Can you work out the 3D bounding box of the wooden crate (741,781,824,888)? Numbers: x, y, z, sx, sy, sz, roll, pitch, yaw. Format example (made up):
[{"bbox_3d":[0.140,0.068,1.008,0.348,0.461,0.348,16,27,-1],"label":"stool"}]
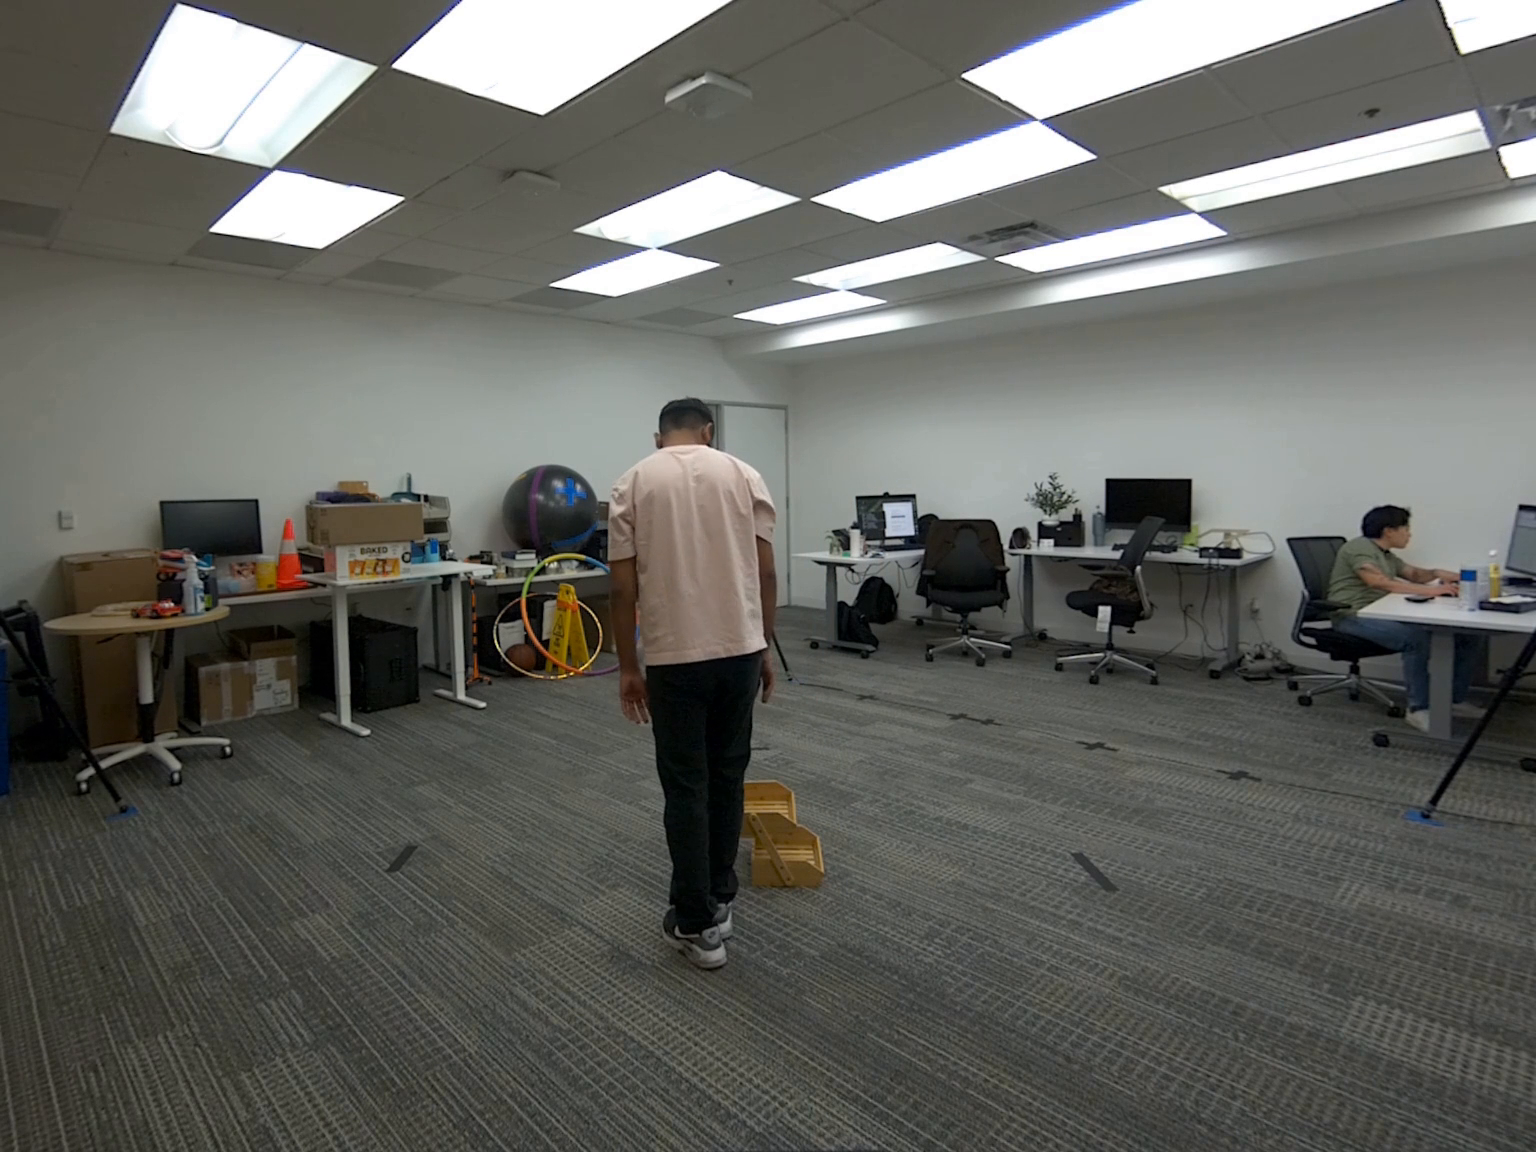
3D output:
[{"bbox_3d":[0.051,0.917,3.073,0.302,0.272,0.325,-1,5,1],"label":"wooden crate"}]
